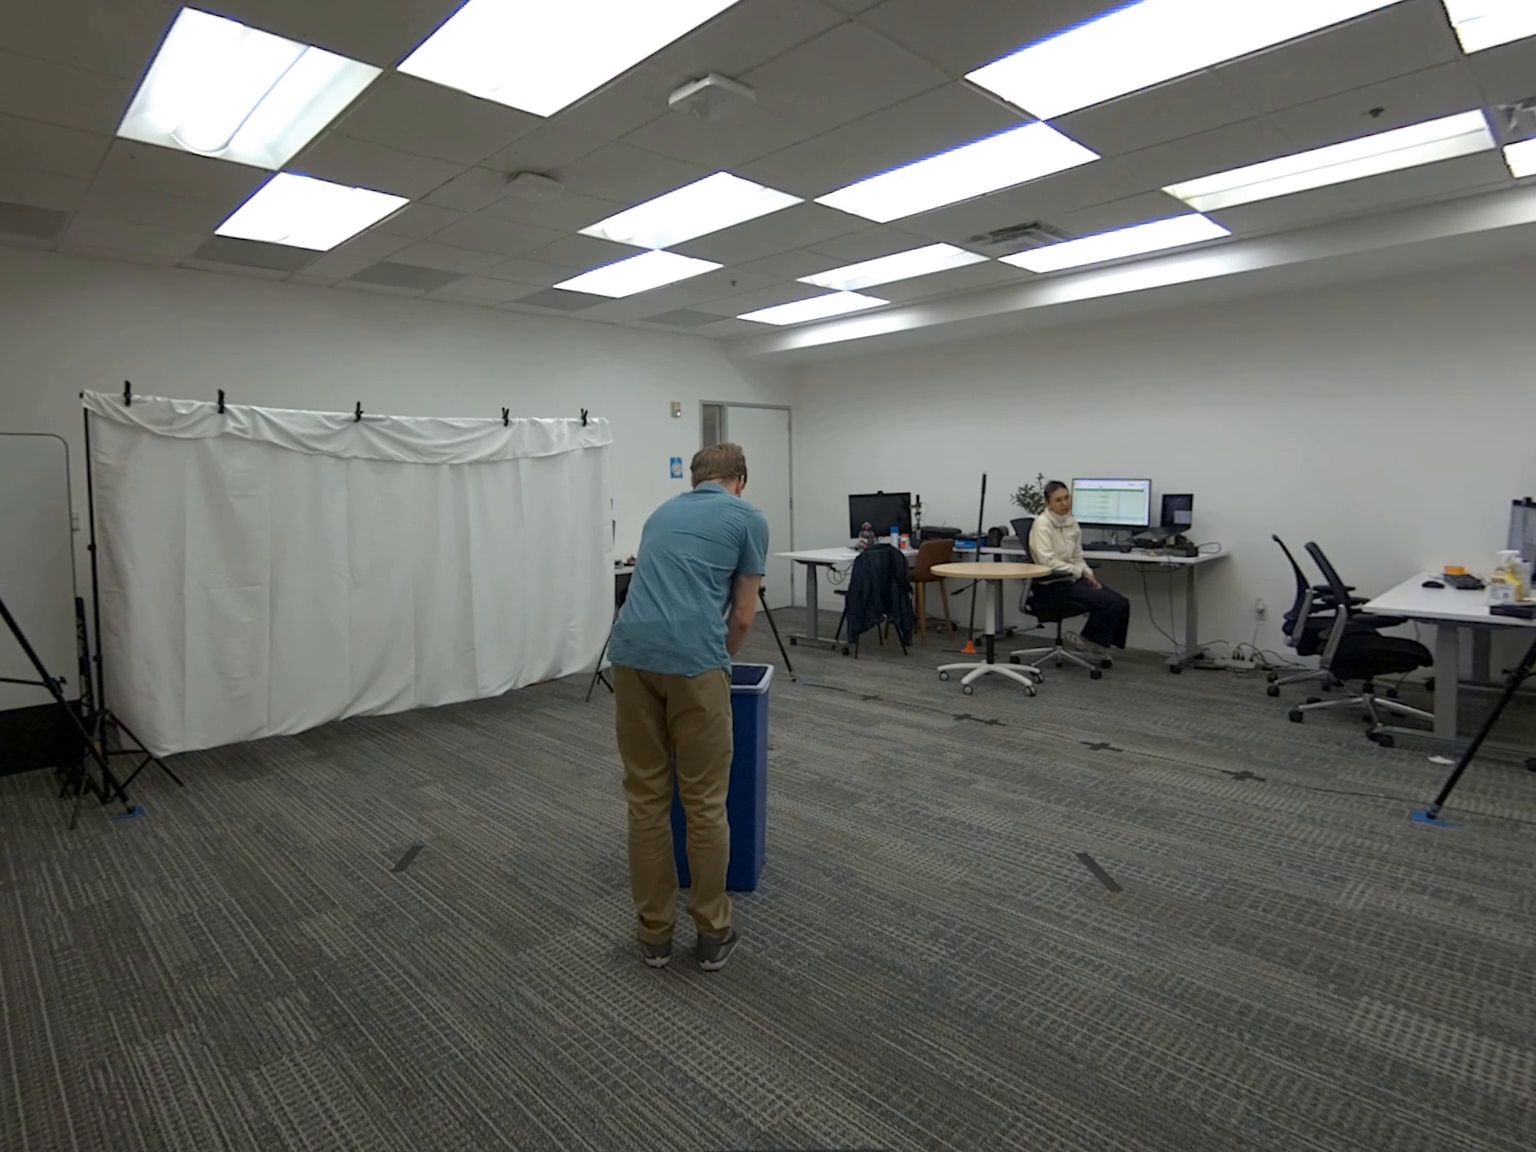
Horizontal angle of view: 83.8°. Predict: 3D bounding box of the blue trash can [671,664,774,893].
[{"bbox_3d":[-0.169,0.700,3.035,0.381,0.712,0.372,0,3,7],"label":"blue trash can"}]
